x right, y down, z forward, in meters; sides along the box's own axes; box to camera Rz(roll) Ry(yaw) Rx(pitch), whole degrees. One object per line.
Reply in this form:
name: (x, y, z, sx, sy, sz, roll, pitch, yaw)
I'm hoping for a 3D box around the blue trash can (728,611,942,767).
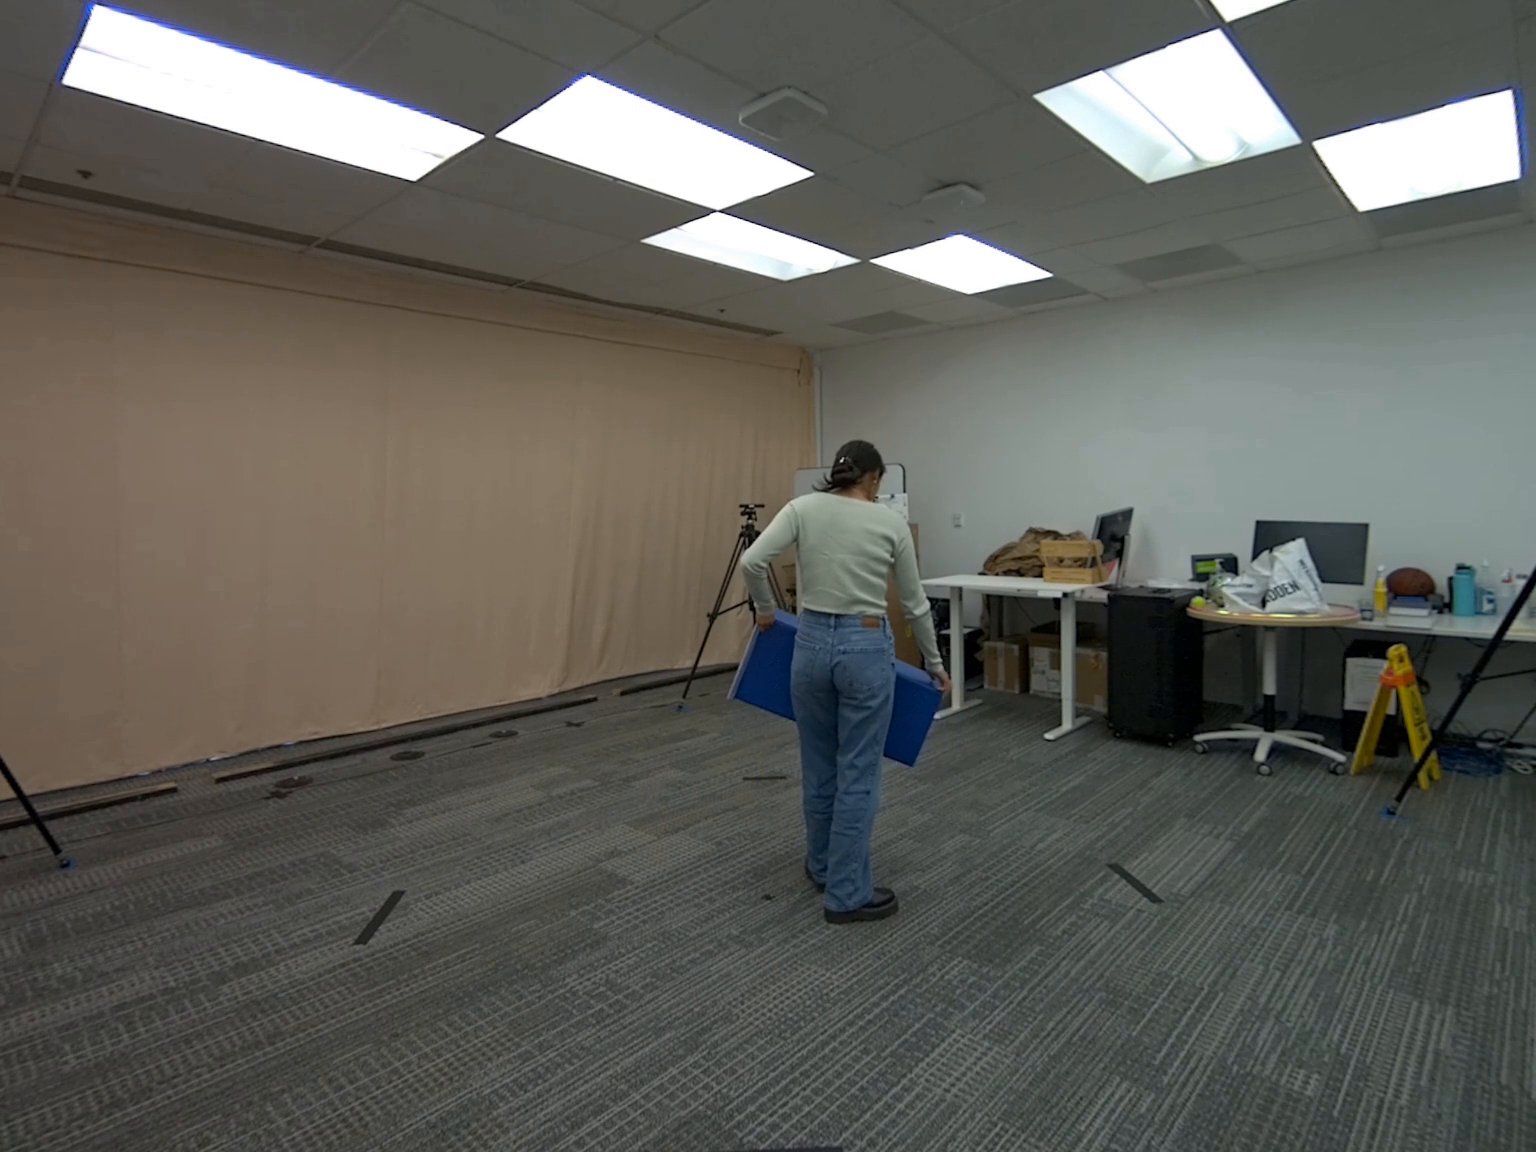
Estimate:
blue trash can: (0.259, 0.402, 3.206, 0.721, 0.377, 0.371, 22, 5, 8)
